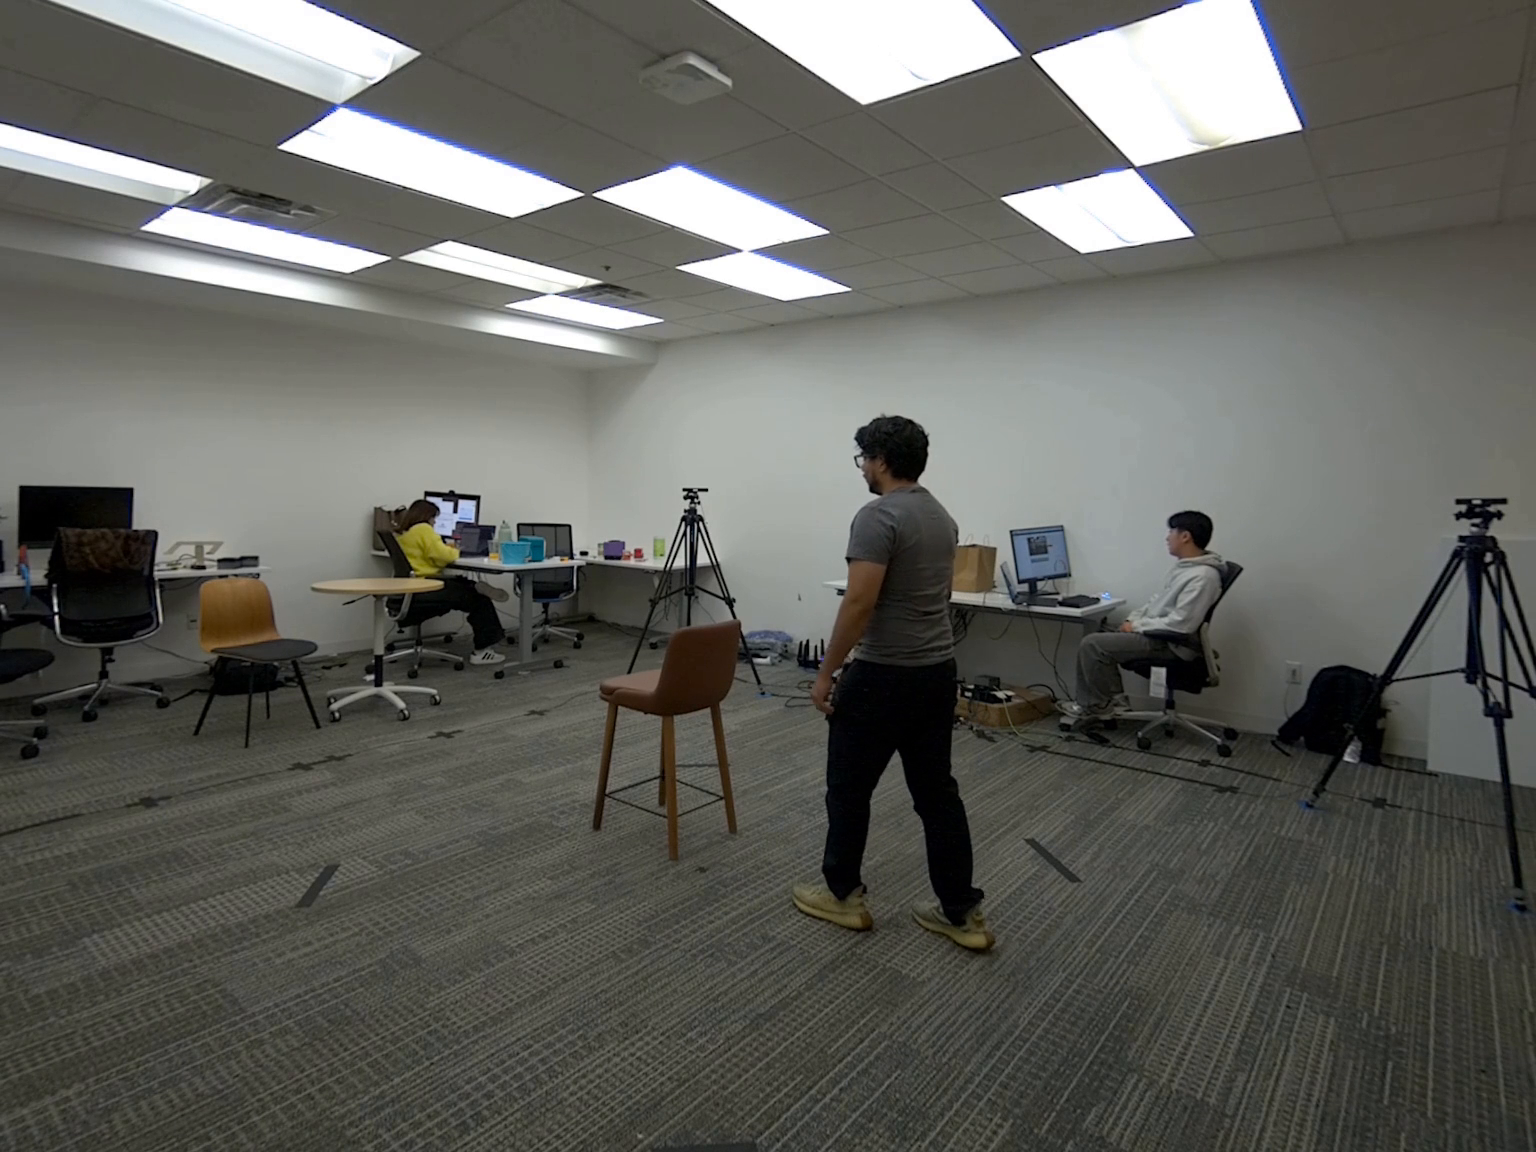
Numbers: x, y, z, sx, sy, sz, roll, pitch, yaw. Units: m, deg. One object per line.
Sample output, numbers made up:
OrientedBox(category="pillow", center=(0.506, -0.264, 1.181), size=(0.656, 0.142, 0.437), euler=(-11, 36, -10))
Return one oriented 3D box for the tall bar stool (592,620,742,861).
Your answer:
OrientedBox(category="tall bar stool", center=(-0.412, 0.600, 3.442), size=(0.483, 0.887, 0.442), euler=(5, 5, 39))
